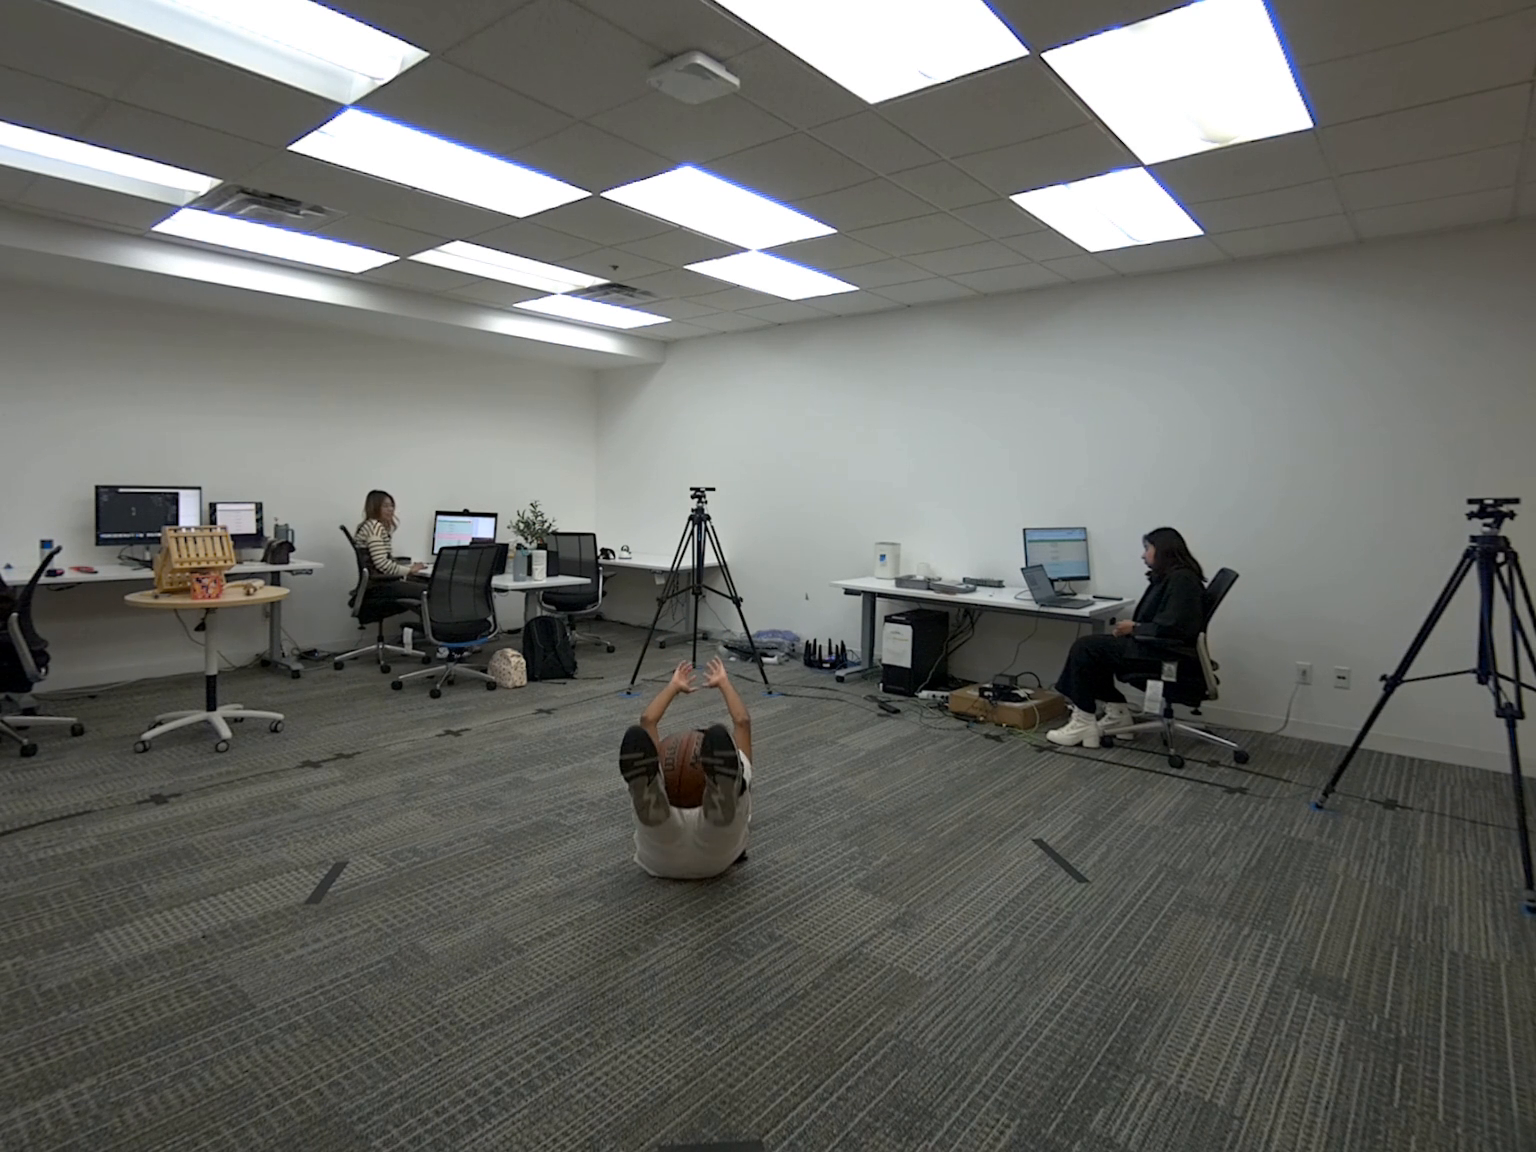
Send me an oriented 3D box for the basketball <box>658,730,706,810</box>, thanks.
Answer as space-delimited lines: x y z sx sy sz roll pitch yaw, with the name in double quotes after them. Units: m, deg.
-0.261 0.605 2.679 0.235 0.235 0.237 1 4 -2 "basketball"
